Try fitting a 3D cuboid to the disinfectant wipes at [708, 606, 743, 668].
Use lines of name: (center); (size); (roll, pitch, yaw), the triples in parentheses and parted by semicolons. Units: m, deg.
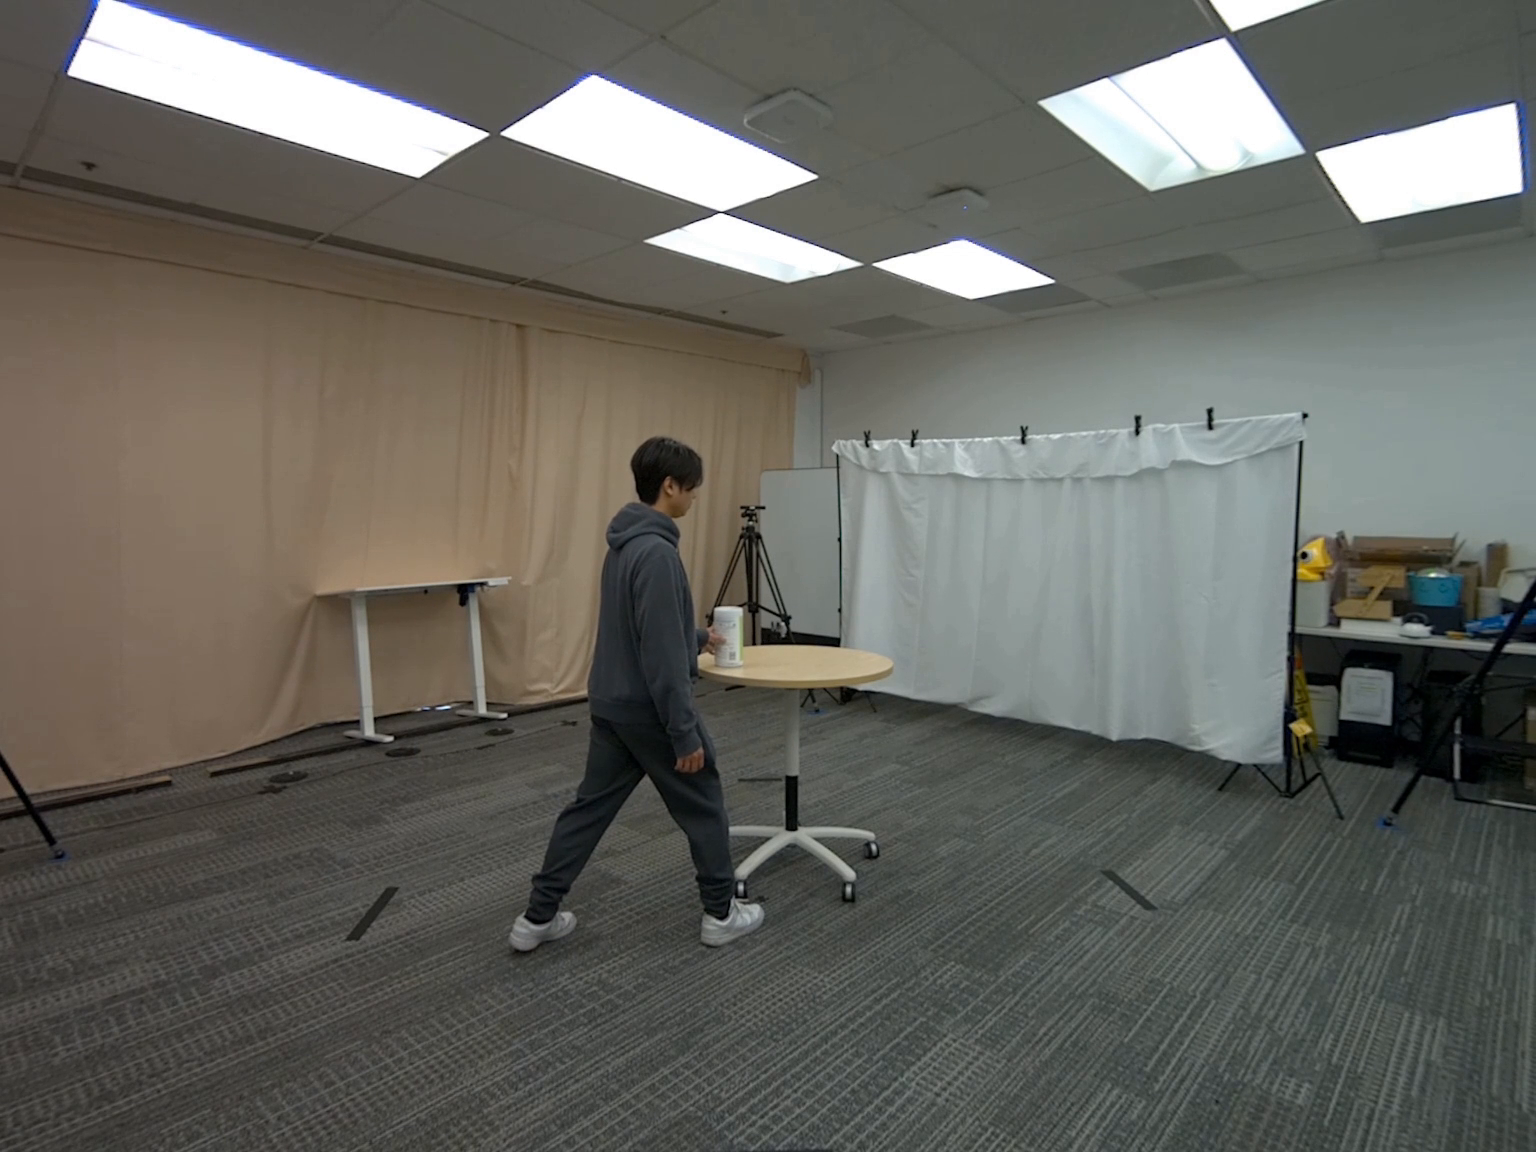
disinfectant wipes: (-0.144, 0.225, 3.138); (0.118, 0.217, 0.118); (1, 2, -2)
